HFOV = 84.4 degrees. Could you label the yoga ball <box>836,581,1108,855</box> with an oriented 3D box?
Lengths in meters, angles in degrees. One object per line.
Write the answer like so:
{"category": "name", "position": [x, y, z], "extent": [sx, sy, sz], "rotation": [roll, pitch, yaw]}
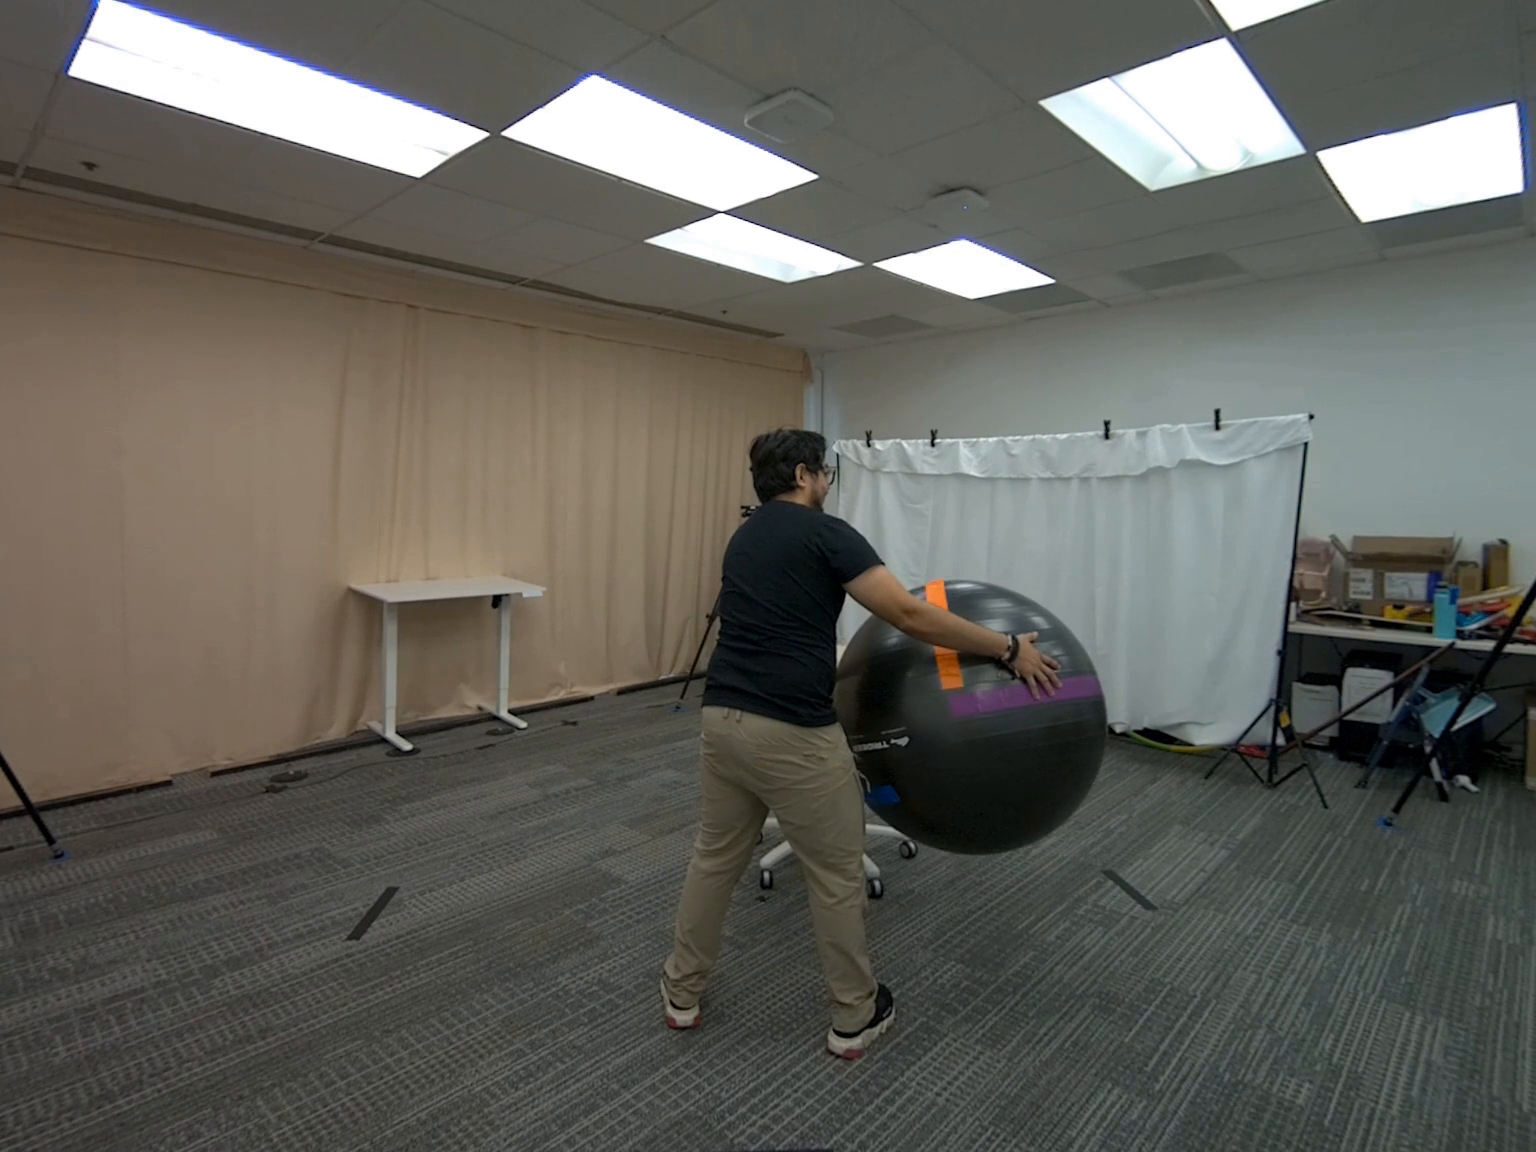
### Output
{"category": "yoga ball", "position": [0.574, 0.406, 2.403], "extent": [0.757, 0.756, 0.760], "rotation": [0, 4, -2]}
